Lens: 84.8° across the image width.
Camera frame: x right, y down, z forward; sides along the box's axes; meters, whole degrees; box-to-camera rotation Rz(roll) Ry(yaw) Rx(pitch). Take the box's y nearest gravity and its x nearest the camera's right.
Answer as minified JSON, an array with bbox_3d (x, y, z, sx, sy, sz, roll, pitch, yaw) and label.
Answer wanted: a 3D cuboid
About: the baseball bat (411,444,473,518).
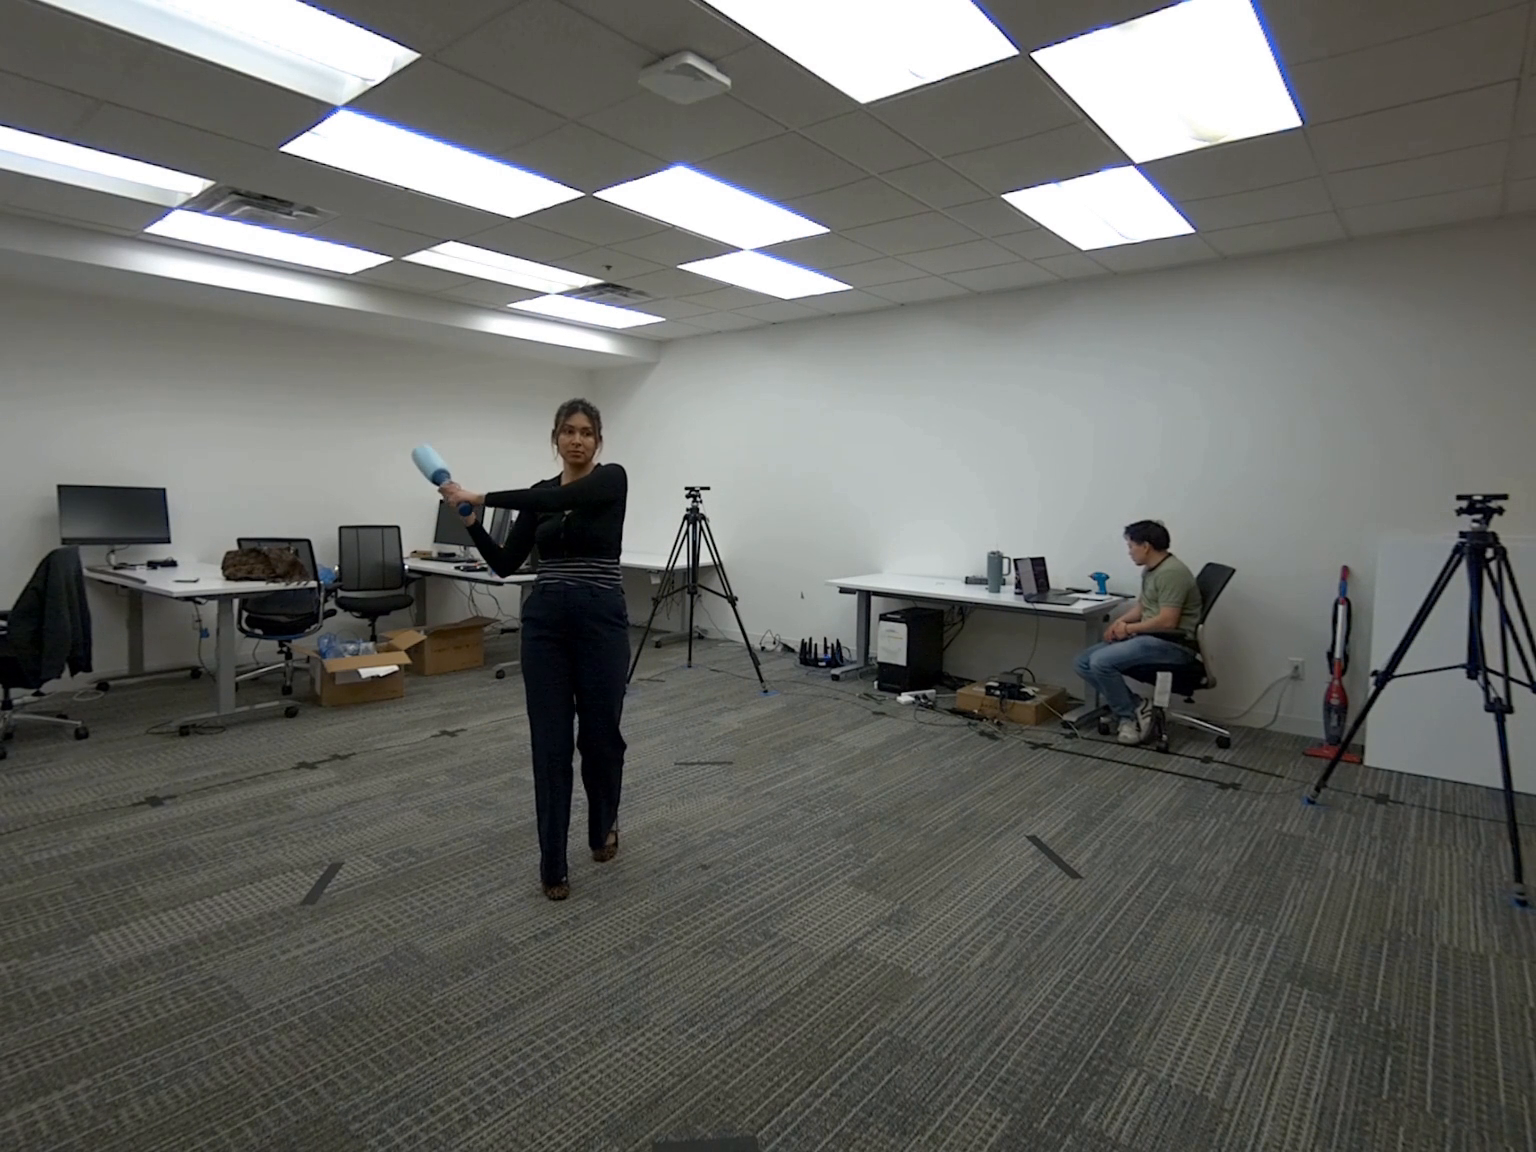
[{"bbox_3d":[-1.150,-0.322,3.003,0.086,0.088,0.567,-2,28,-37],"label":"baseball bat"}]
